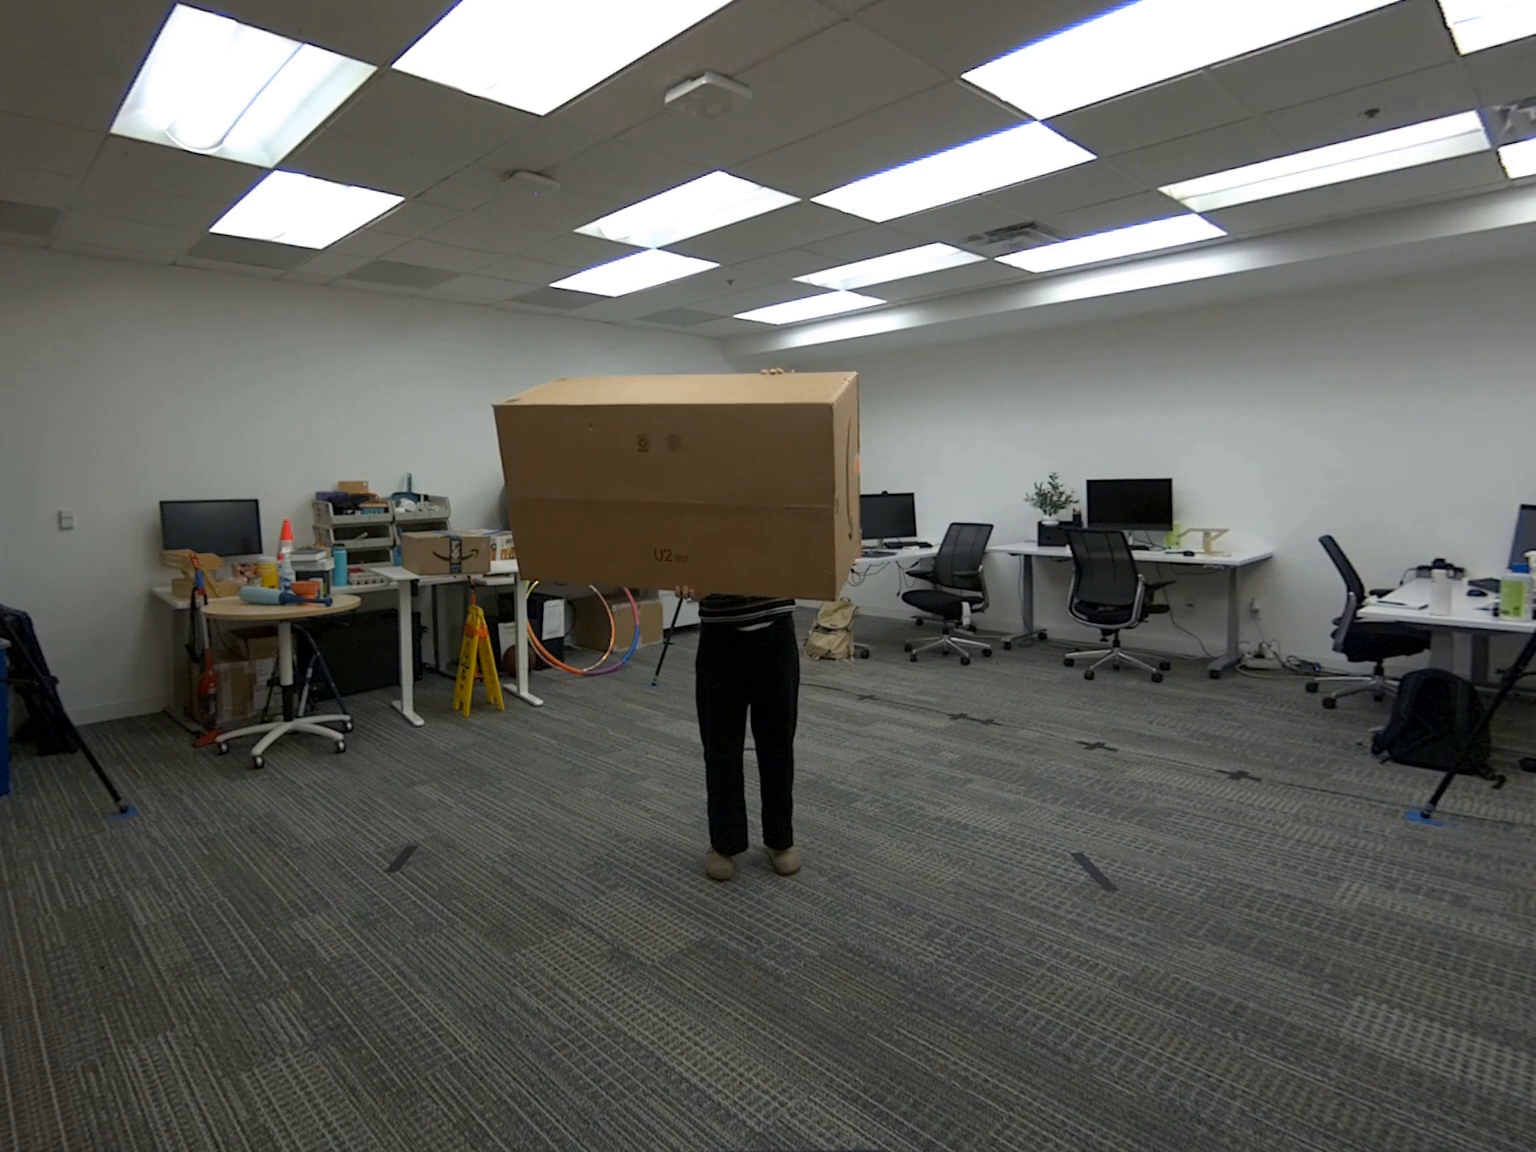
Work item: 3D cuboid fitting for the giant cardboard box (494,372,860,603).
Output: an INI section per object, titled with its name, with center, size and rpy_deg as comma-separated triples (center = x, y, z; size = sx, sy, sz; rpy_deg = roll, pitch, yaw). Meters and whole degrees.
[giant cardboard box]
center = -0.255, -0.308, 2.649
size = 1.044, 0.567, 0.427
rpy_deg = 3, 22, 18
